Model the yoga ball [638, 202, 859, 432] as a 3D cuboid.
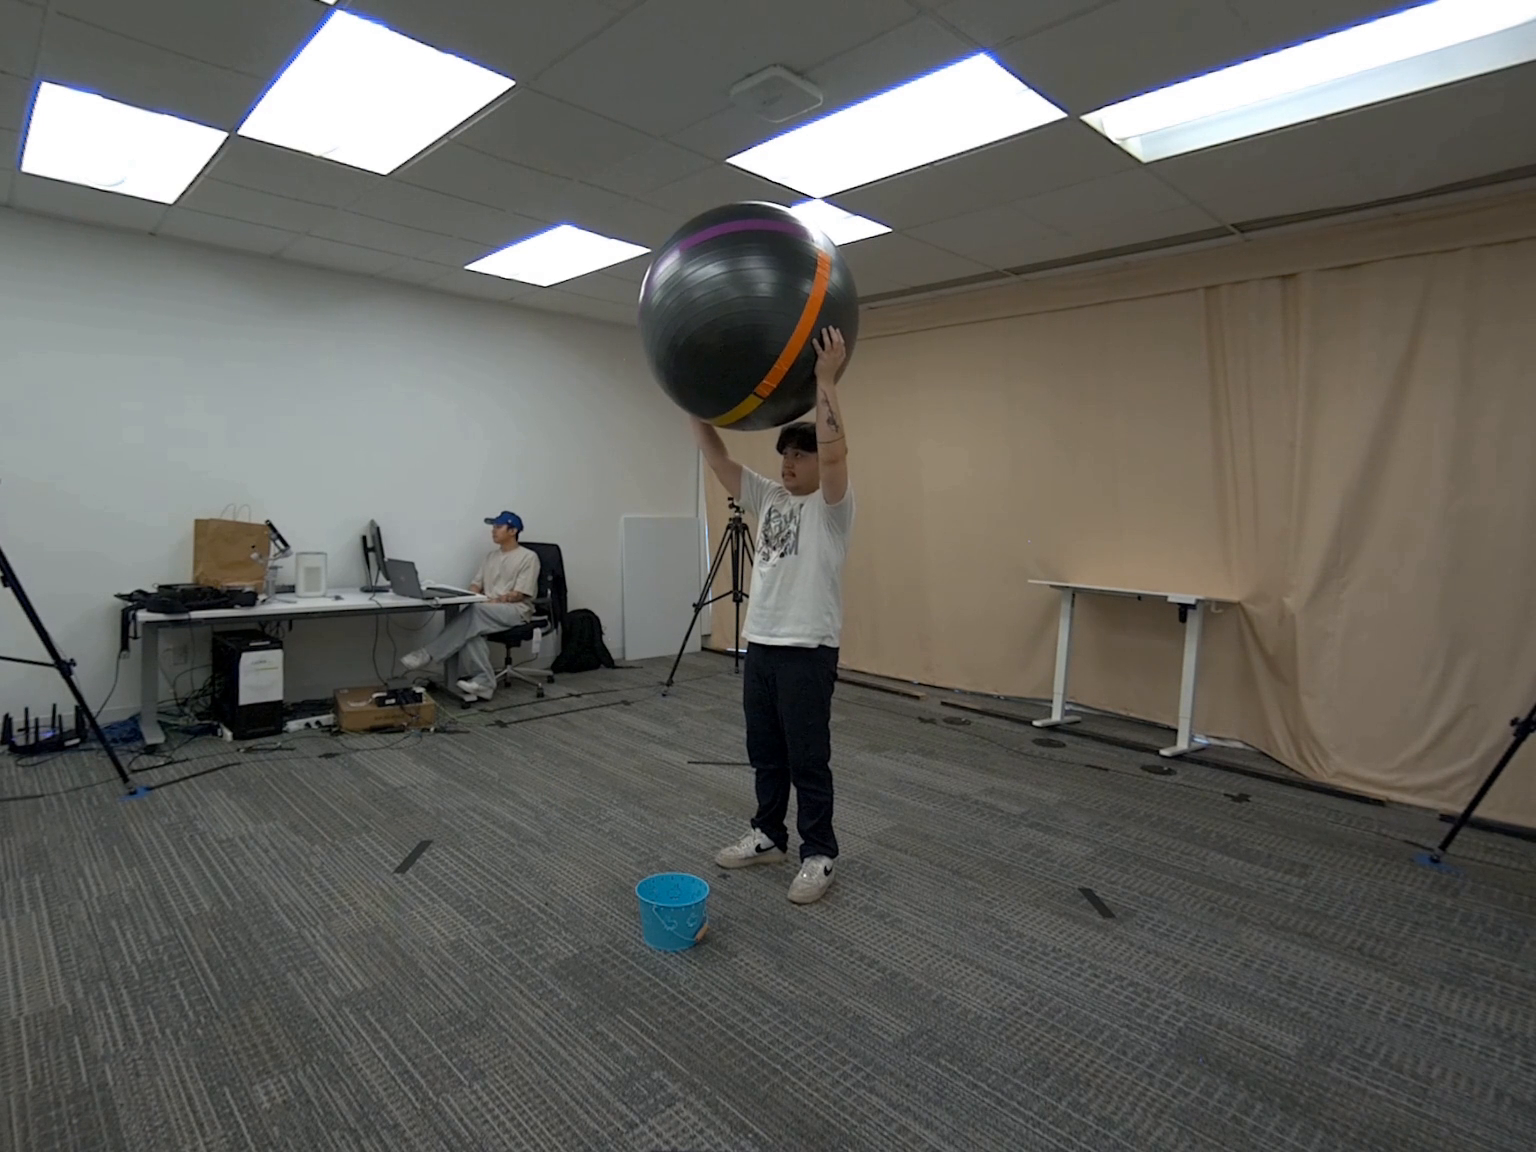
[{"bbox_3d":[-0.075,-0.877,2.895,0.757,0.756,0.760,1,4,-1],"label":"yoga ball"}]
